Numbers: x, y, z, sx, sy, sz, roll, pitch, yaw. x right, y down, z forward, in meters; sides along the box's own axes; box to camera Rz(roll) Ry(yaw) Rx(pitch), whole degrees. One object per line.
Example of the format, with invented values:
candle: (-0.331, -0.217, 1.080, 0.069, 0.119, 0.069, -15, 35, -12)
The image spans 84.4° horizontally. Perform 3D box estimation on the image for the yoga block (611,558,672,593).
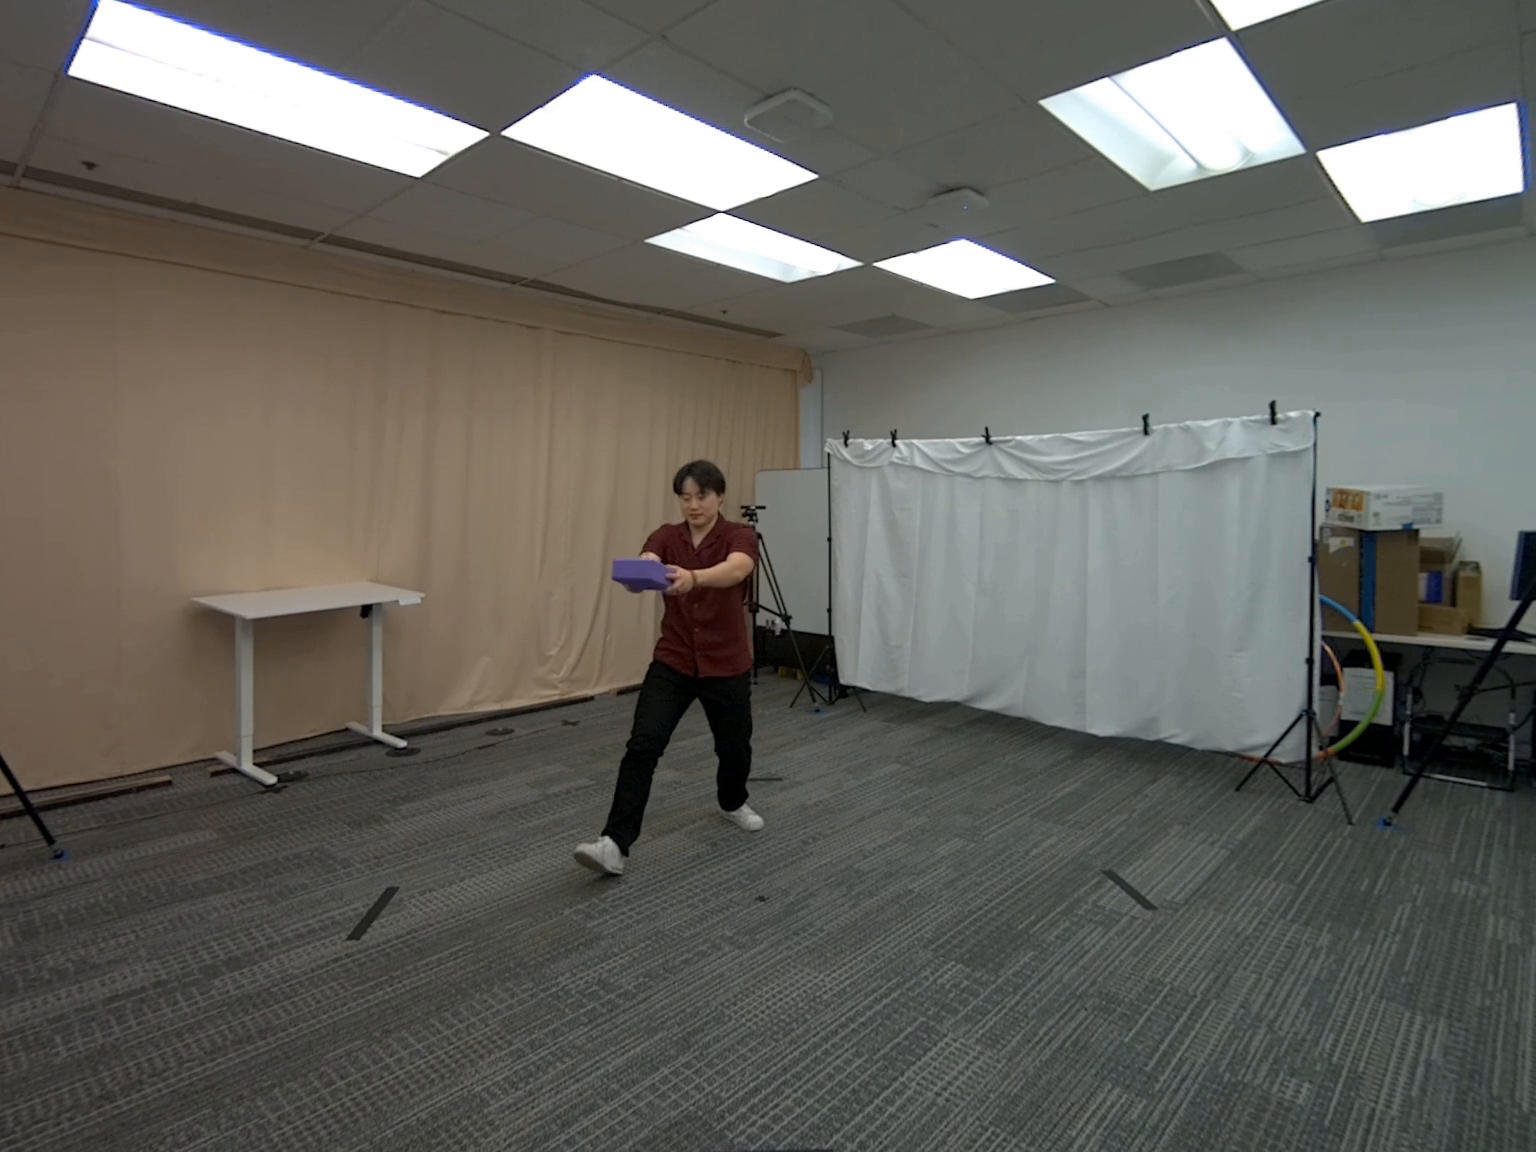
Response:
yoga block: (-0.440, 0.007, 2.909, 0.150, 0.077, 0.227, 2, -9, 4)
